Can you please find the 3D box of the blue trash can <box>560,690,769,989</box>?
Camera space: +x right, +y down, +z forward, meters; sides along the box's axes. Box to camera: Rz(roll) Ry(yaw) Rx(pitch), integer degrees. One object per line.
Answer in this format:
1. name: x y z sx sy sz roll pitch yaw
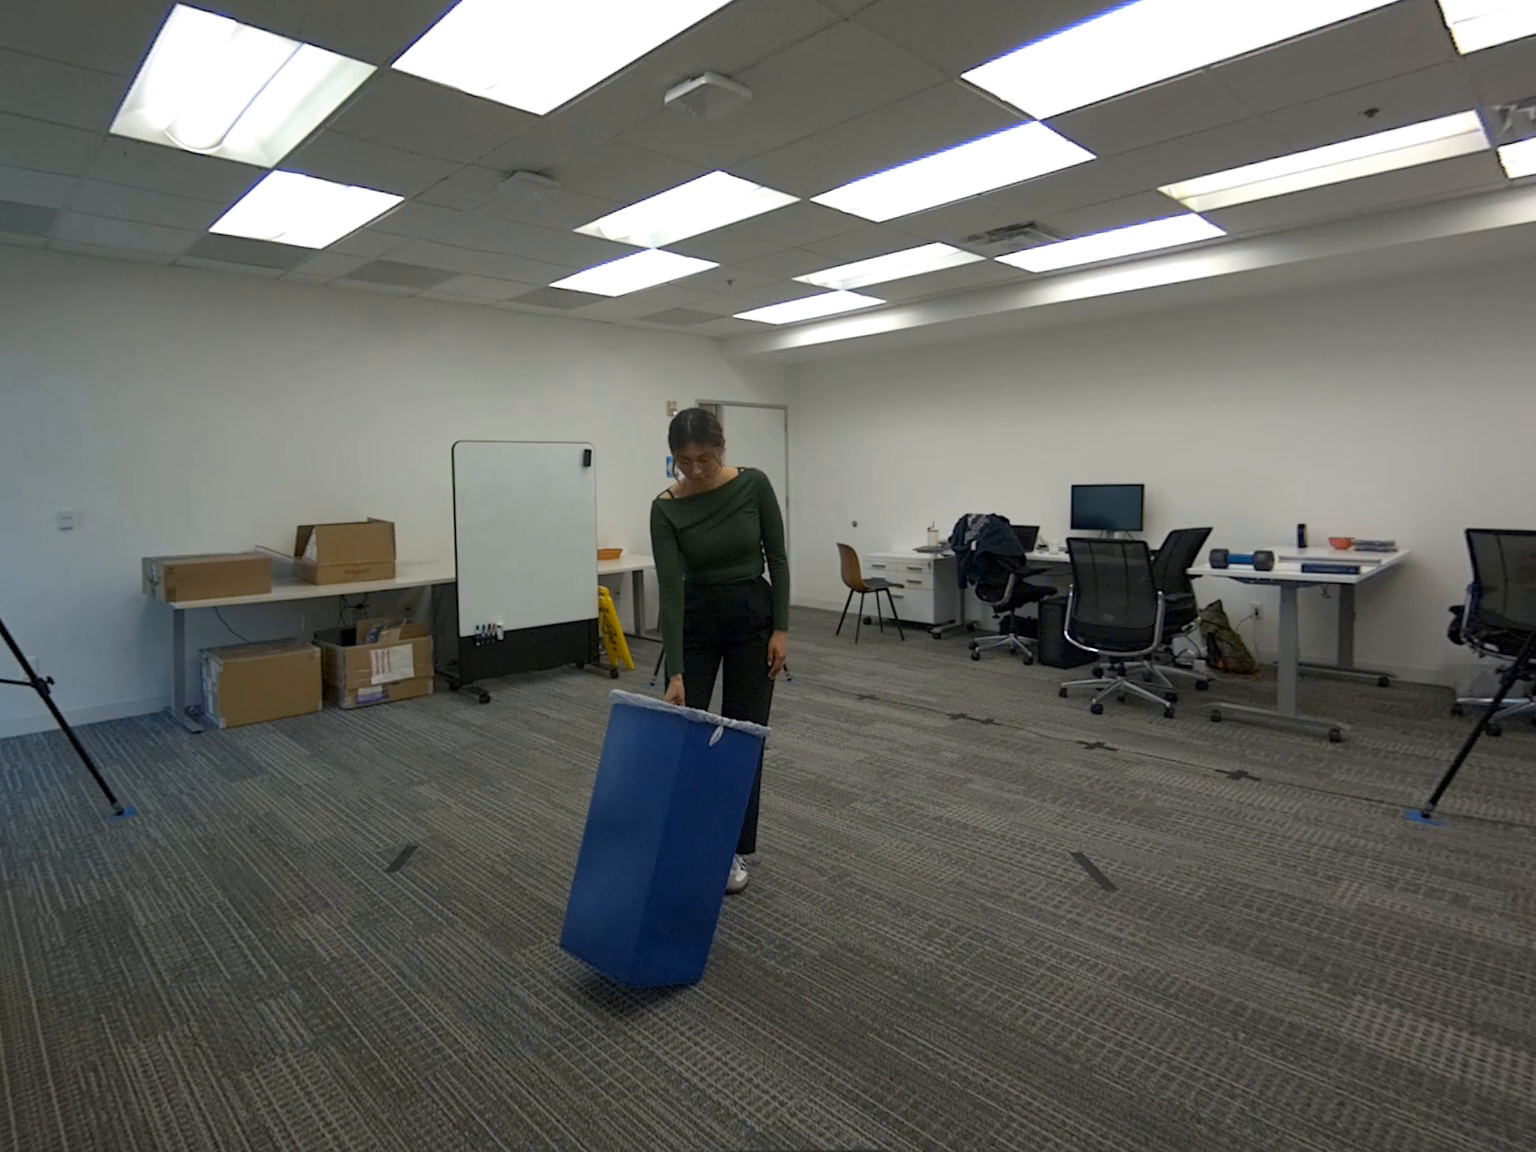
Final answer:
1. blue trash can: -0.307 0.740 2.449 0.389 0.719 0.360 3 -16 39
